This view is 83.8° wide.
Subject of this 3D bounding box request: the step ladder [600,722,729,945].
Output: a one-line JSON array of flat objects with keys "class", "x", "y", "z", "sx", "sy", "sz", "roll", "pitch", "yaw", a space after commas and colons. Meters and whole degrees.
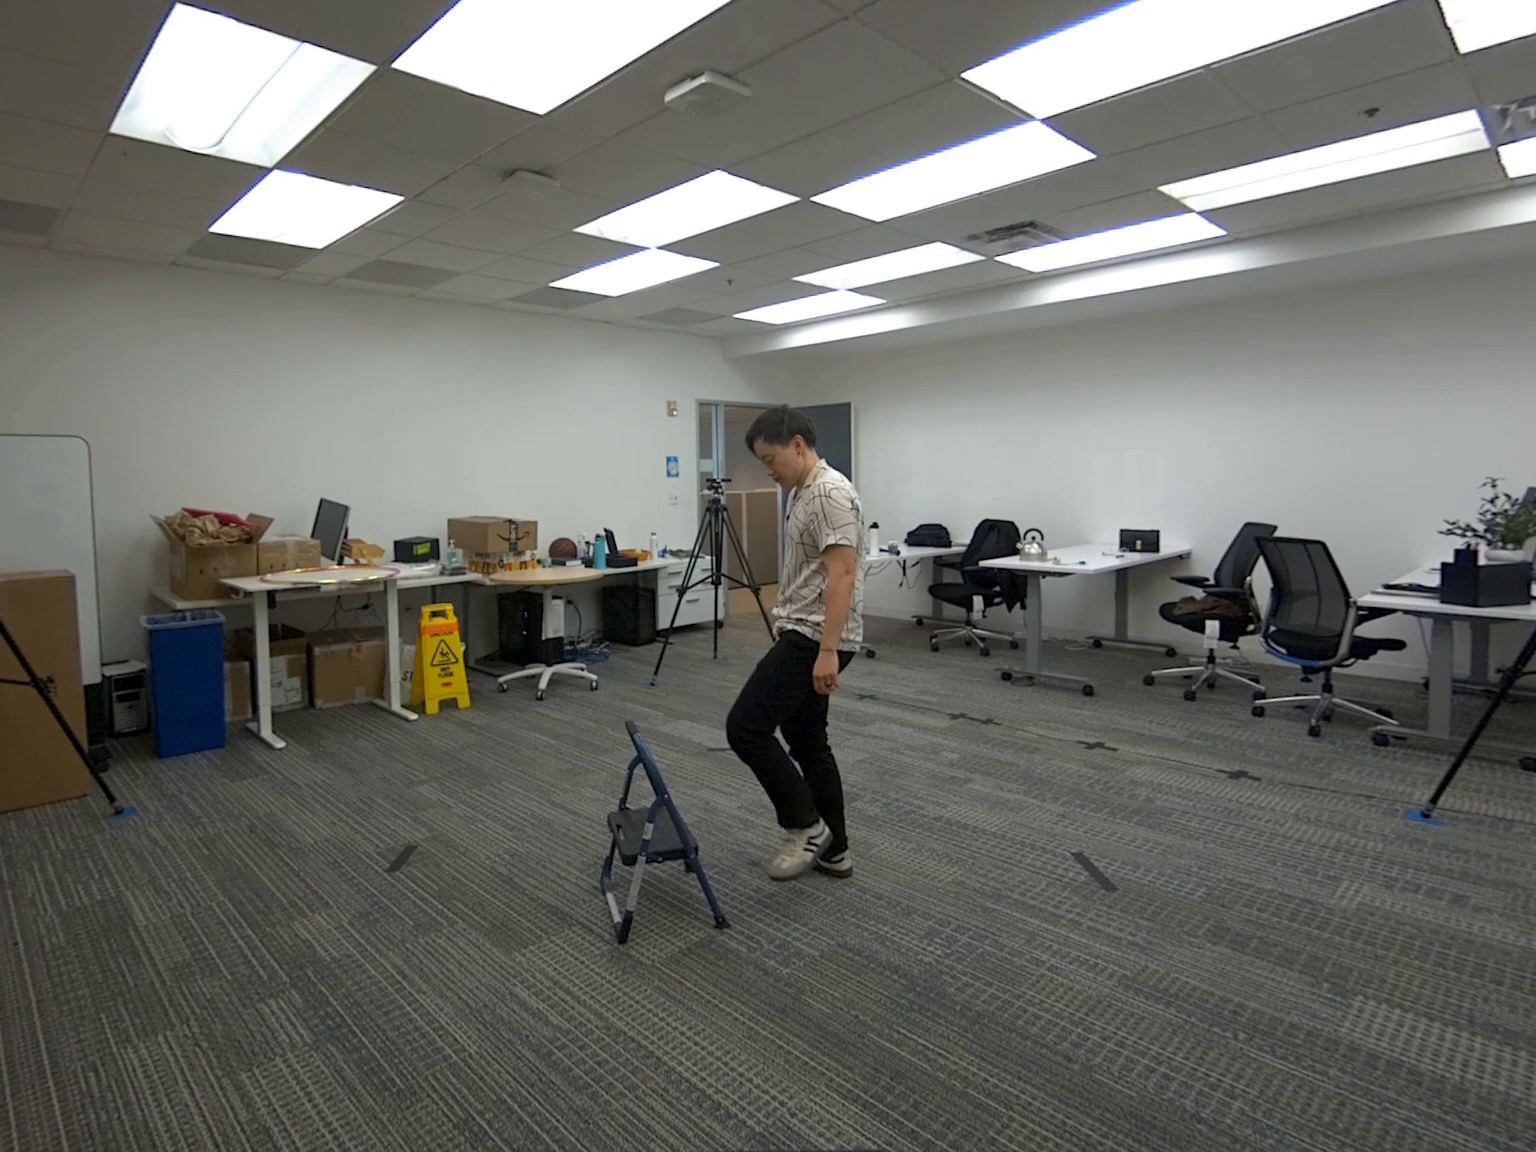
[{"class": "step ladder", "x": -0.357, "y": 0.781, "z": 2.799, "sx": 0.344, "sy": 0.604, "sz": 0.439, "roll": -3, "pitch": 5, "yaw": -18}]
